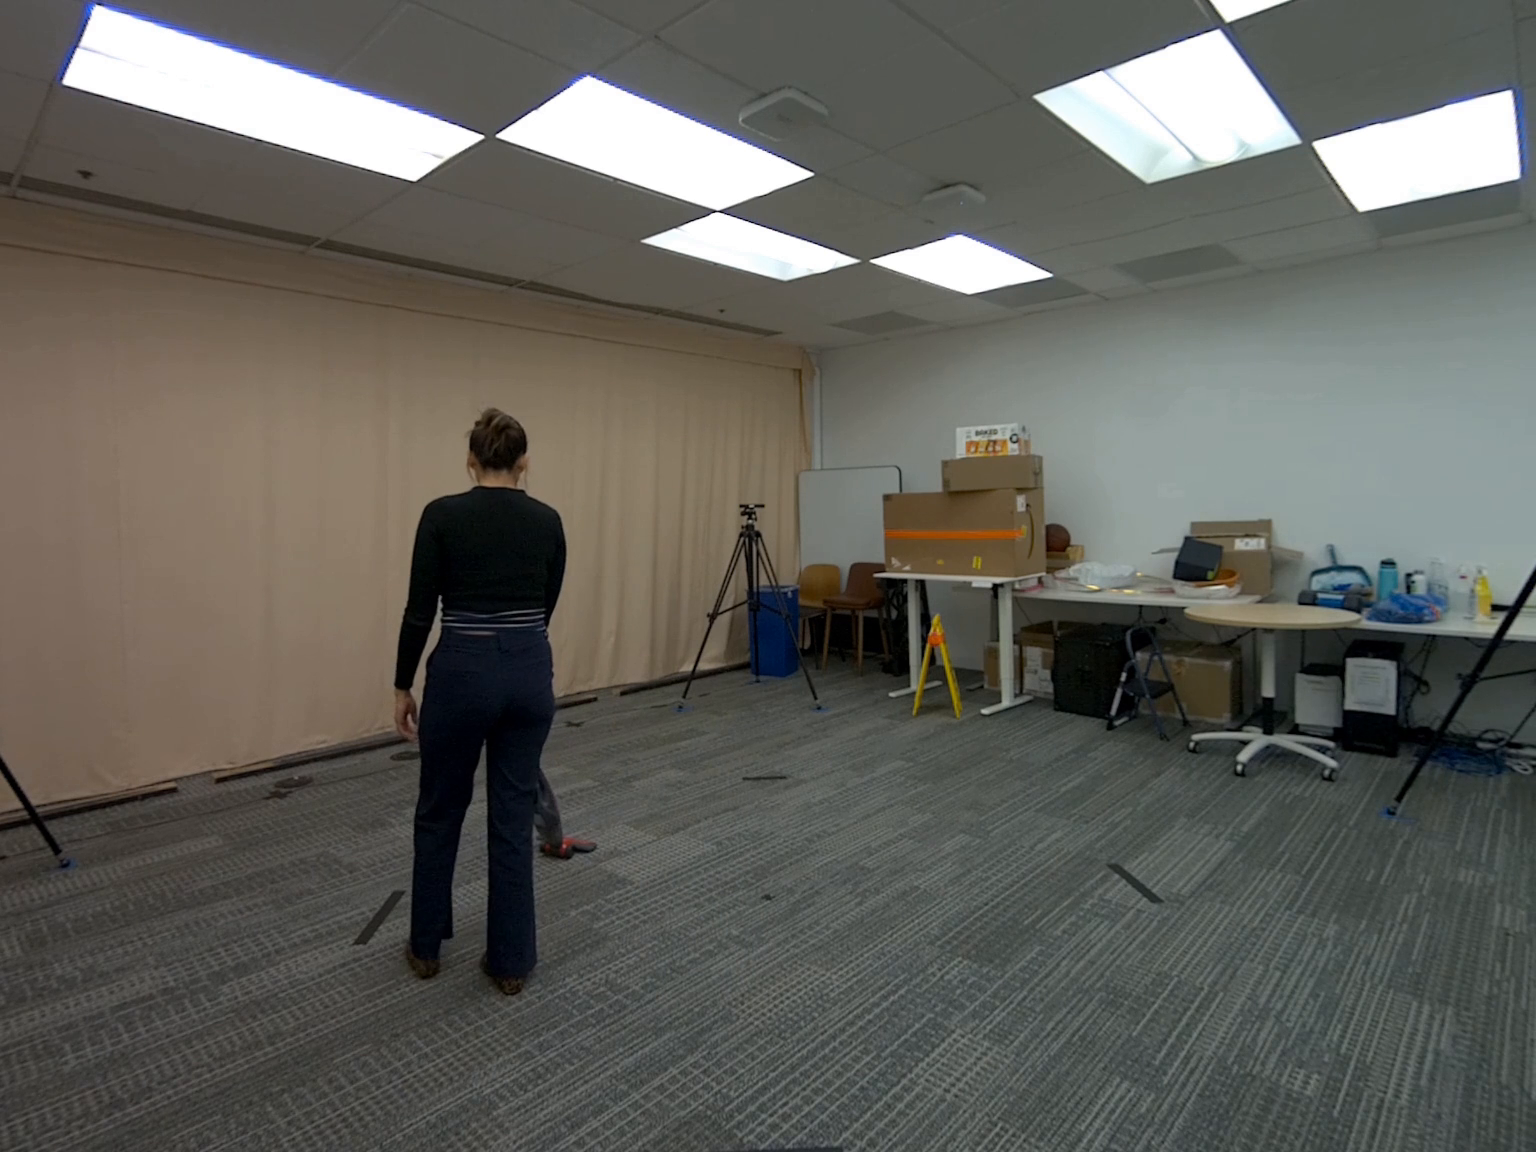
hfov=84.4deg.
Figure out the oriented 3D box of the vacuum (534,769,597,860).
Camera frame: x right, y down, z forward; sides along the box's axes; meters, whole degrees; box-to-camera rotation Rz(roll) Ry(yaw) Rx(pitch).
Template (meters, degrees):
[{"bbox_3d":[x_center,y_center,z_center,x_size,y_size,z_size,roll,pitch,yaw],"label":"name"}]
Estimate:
[{"bbox_3d":[-0.866,0.742,3.076,0.256,1.027,0.145,7,44,11],"label":"vacuum"}]
